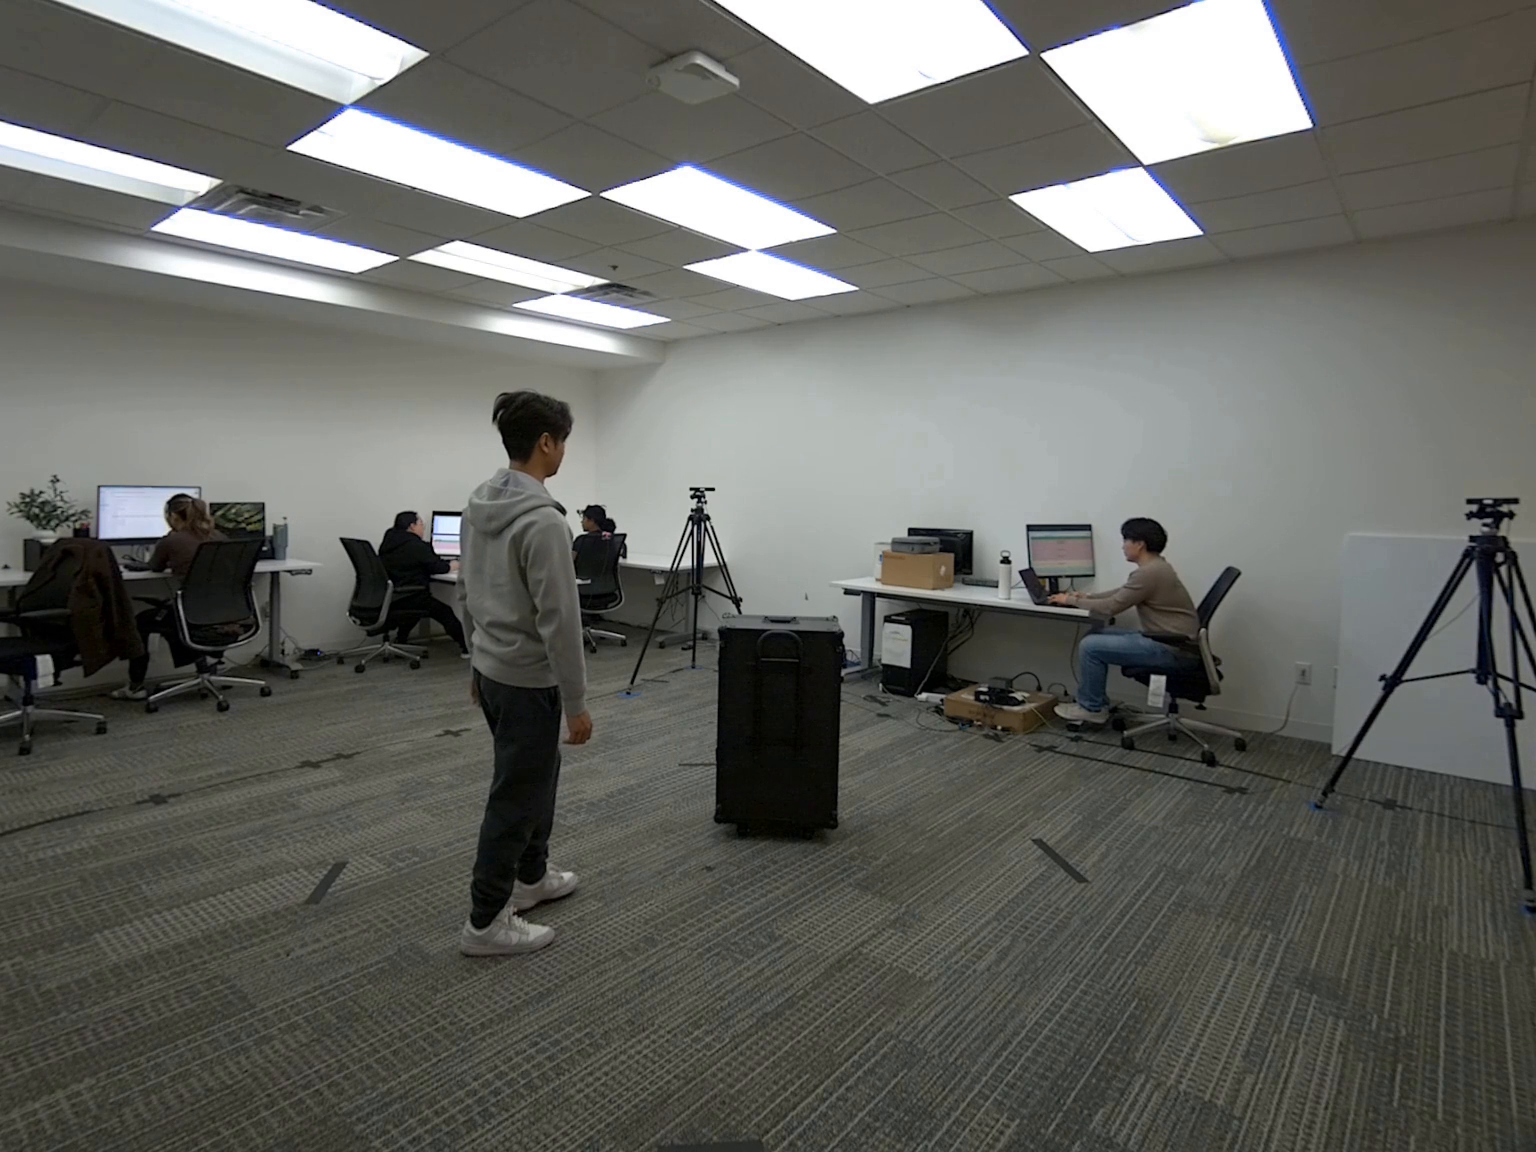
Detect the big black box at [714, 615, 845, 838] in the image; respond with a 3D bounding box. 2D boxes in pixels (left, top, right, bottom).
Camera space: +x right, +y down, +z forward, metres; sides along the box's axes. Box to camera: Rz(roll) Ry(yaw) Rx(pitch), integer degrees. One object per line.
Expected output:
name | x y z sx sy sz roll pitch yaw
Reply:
big black box | 0.038 0.607 3.485 0.524 0.858 0.396 1 5 4
